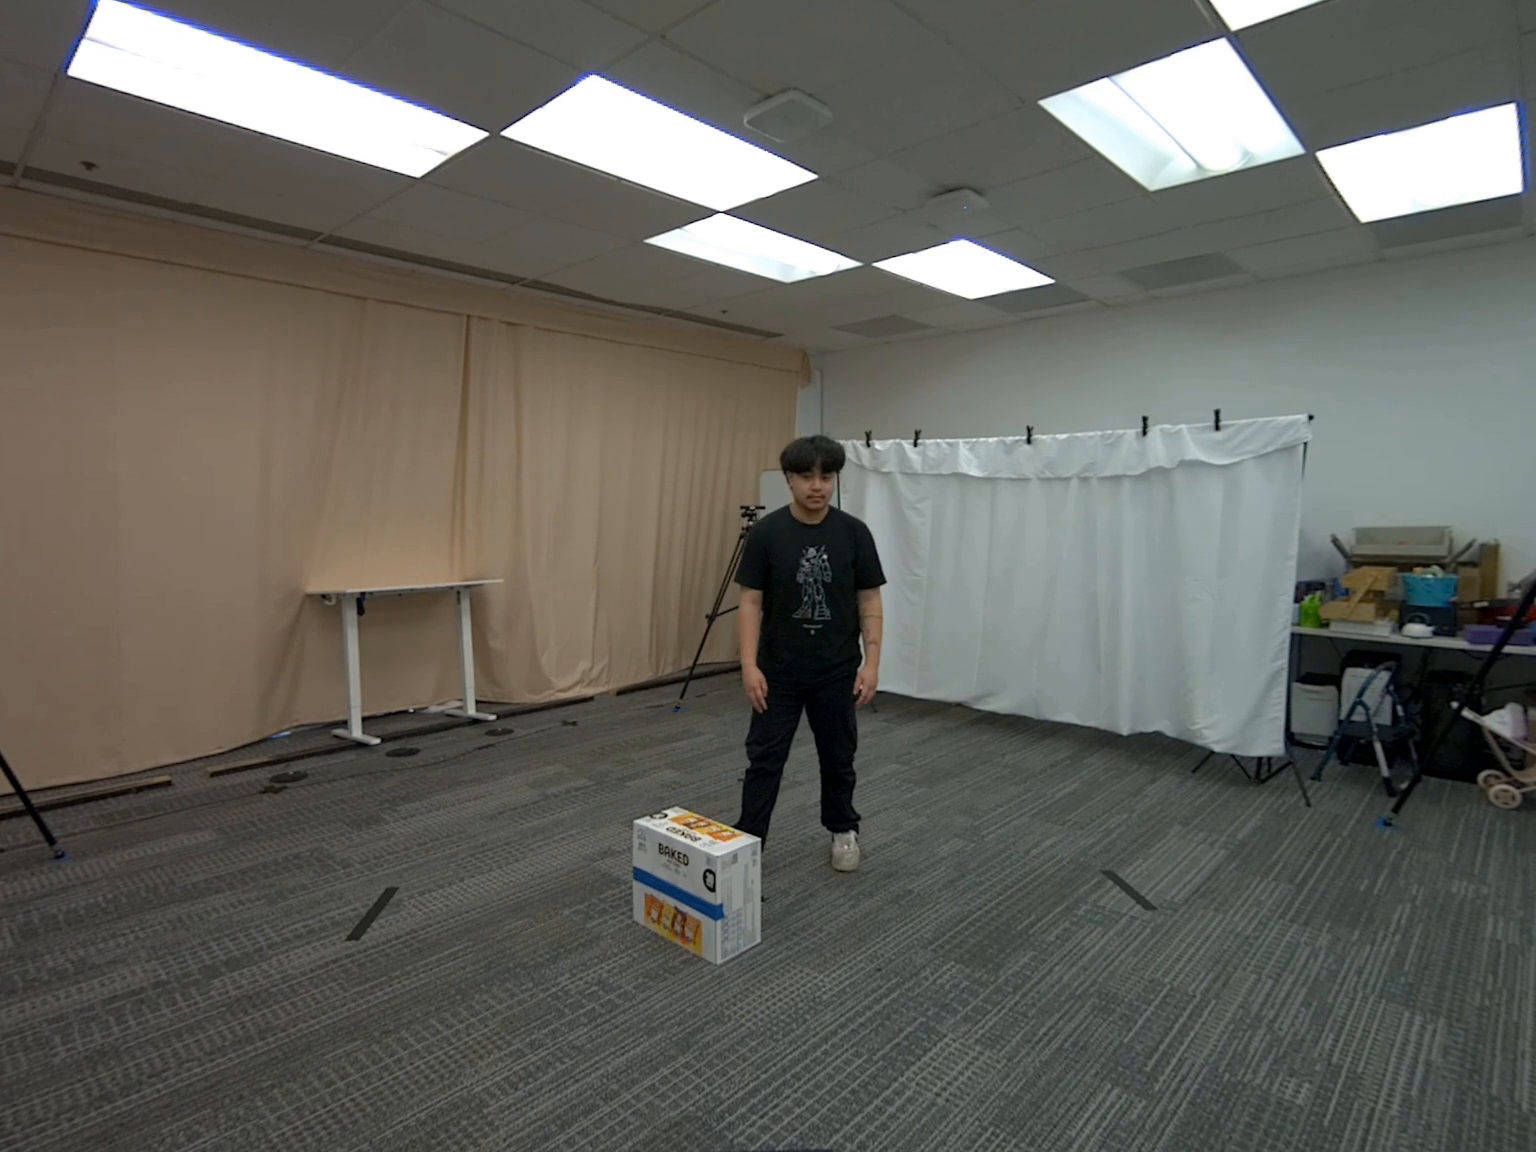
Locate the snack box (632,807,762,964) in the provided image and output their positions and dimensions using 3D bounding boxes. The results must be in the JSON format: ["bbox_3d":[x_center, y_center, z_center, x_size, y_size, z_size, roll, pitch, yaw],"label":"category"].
[{"bbox_3d":[-0.233,0.995,2.750,0.419,0.339,0.199,4,5,43],"label":"snack box"}]
